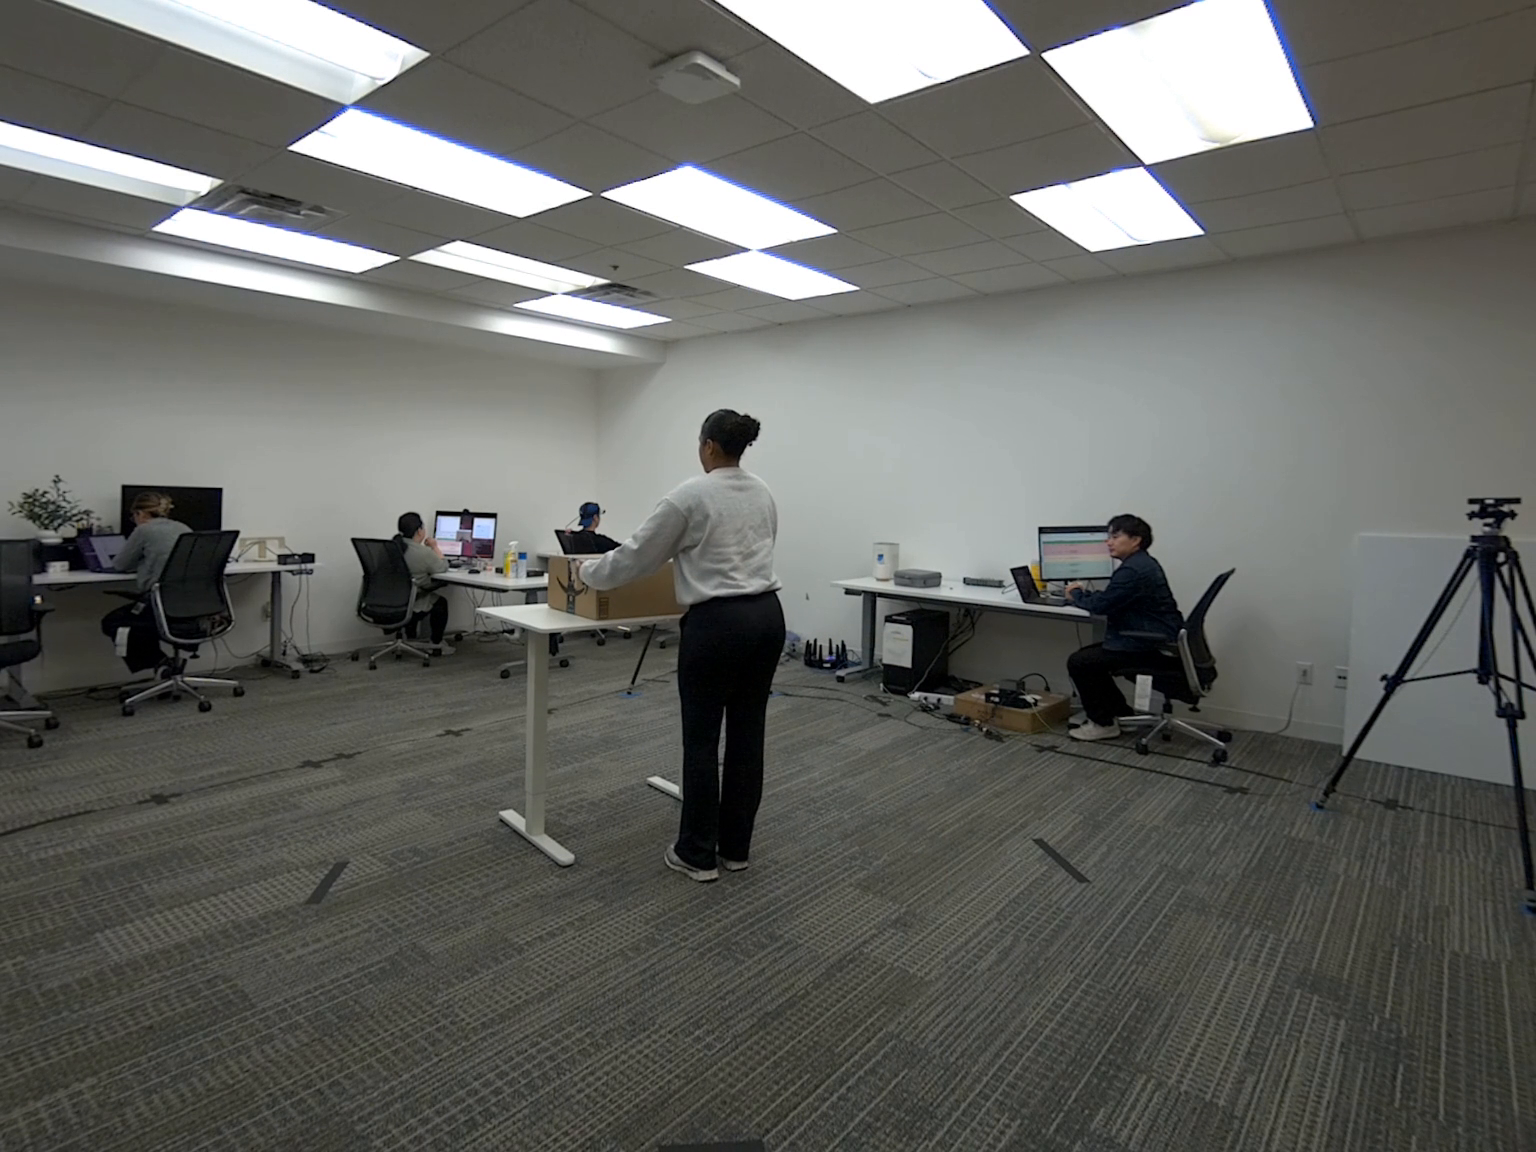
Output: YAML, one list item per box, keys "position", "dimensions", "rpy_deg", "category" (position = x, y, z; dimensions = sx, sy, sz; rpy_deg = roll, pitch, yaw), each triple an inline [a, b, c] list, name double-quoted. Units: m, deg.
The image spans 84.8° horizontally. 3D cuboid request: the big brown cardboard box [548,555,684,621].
- position: [-0.579, 0.029, 3.534]
  dimensions: [0.572, 0.232, 0.432]
  rpy_deg: [-4, 8, -39]
  category: "big brown cardboard box"
